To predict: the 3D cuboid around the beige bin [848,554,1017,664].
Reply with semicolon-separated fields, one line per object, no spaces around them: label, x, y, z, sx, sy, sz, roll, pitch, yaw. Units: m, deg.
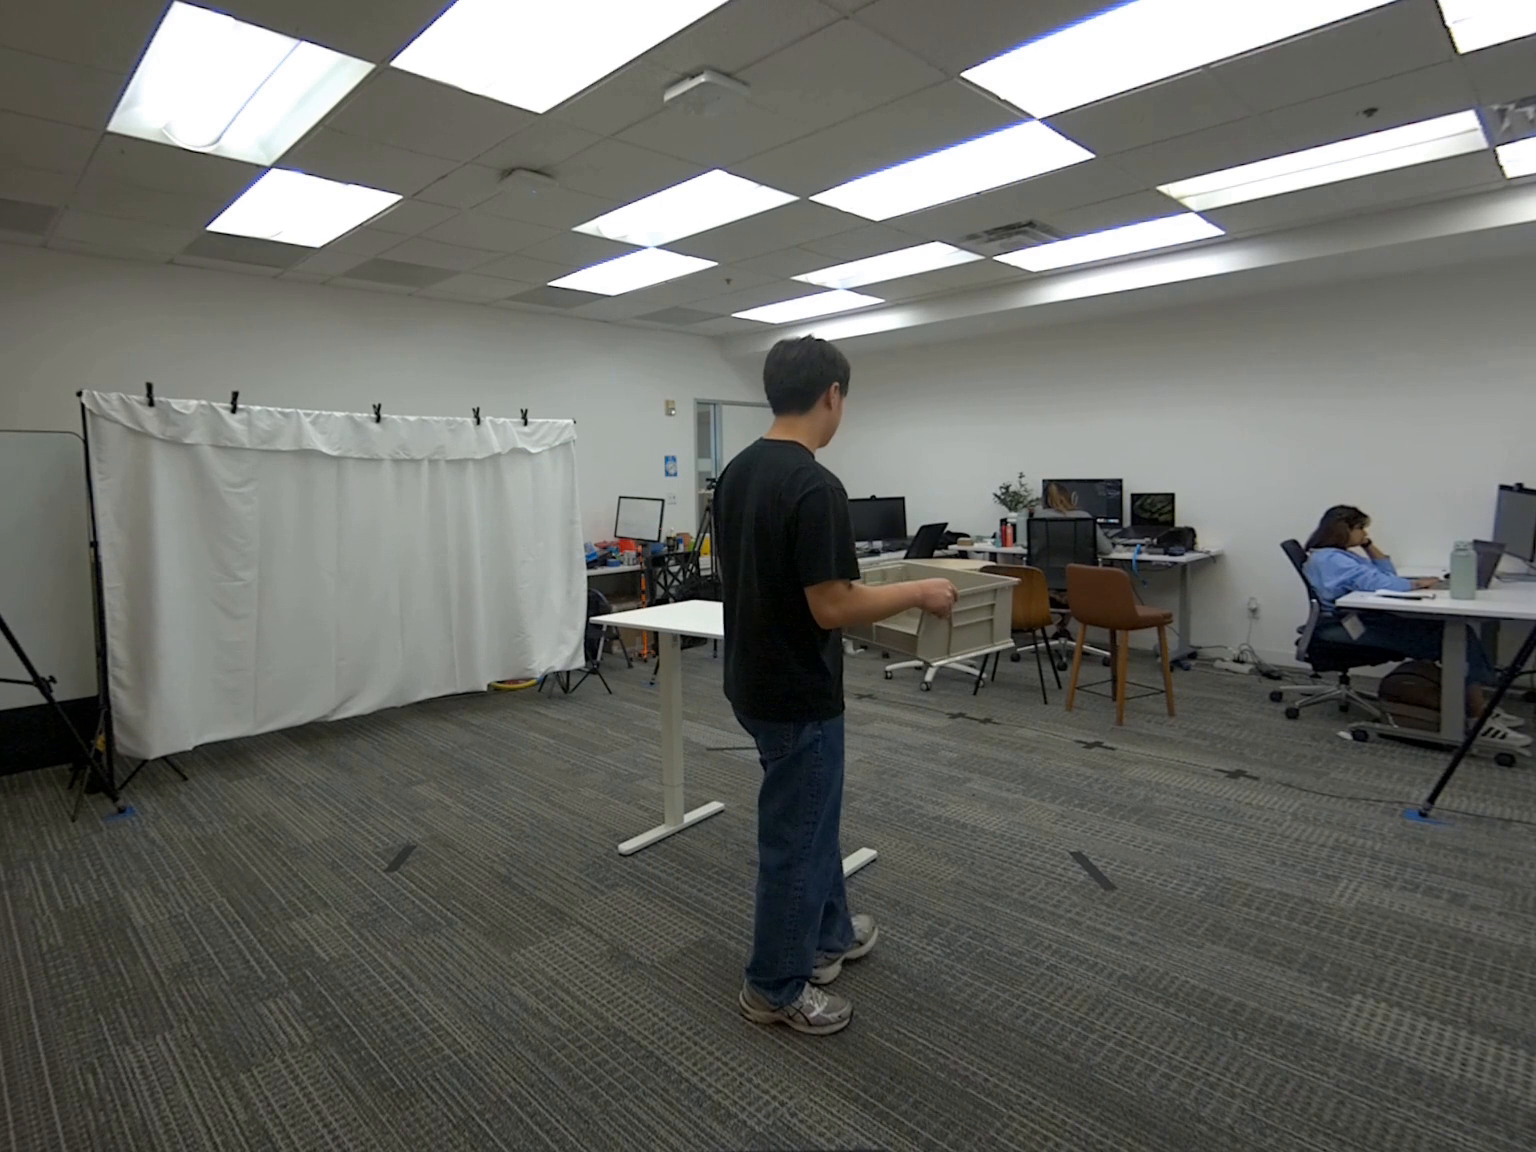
beige bin;0.388;0.091;2.313;0.368;0.188;0.436;-6;10;-35
